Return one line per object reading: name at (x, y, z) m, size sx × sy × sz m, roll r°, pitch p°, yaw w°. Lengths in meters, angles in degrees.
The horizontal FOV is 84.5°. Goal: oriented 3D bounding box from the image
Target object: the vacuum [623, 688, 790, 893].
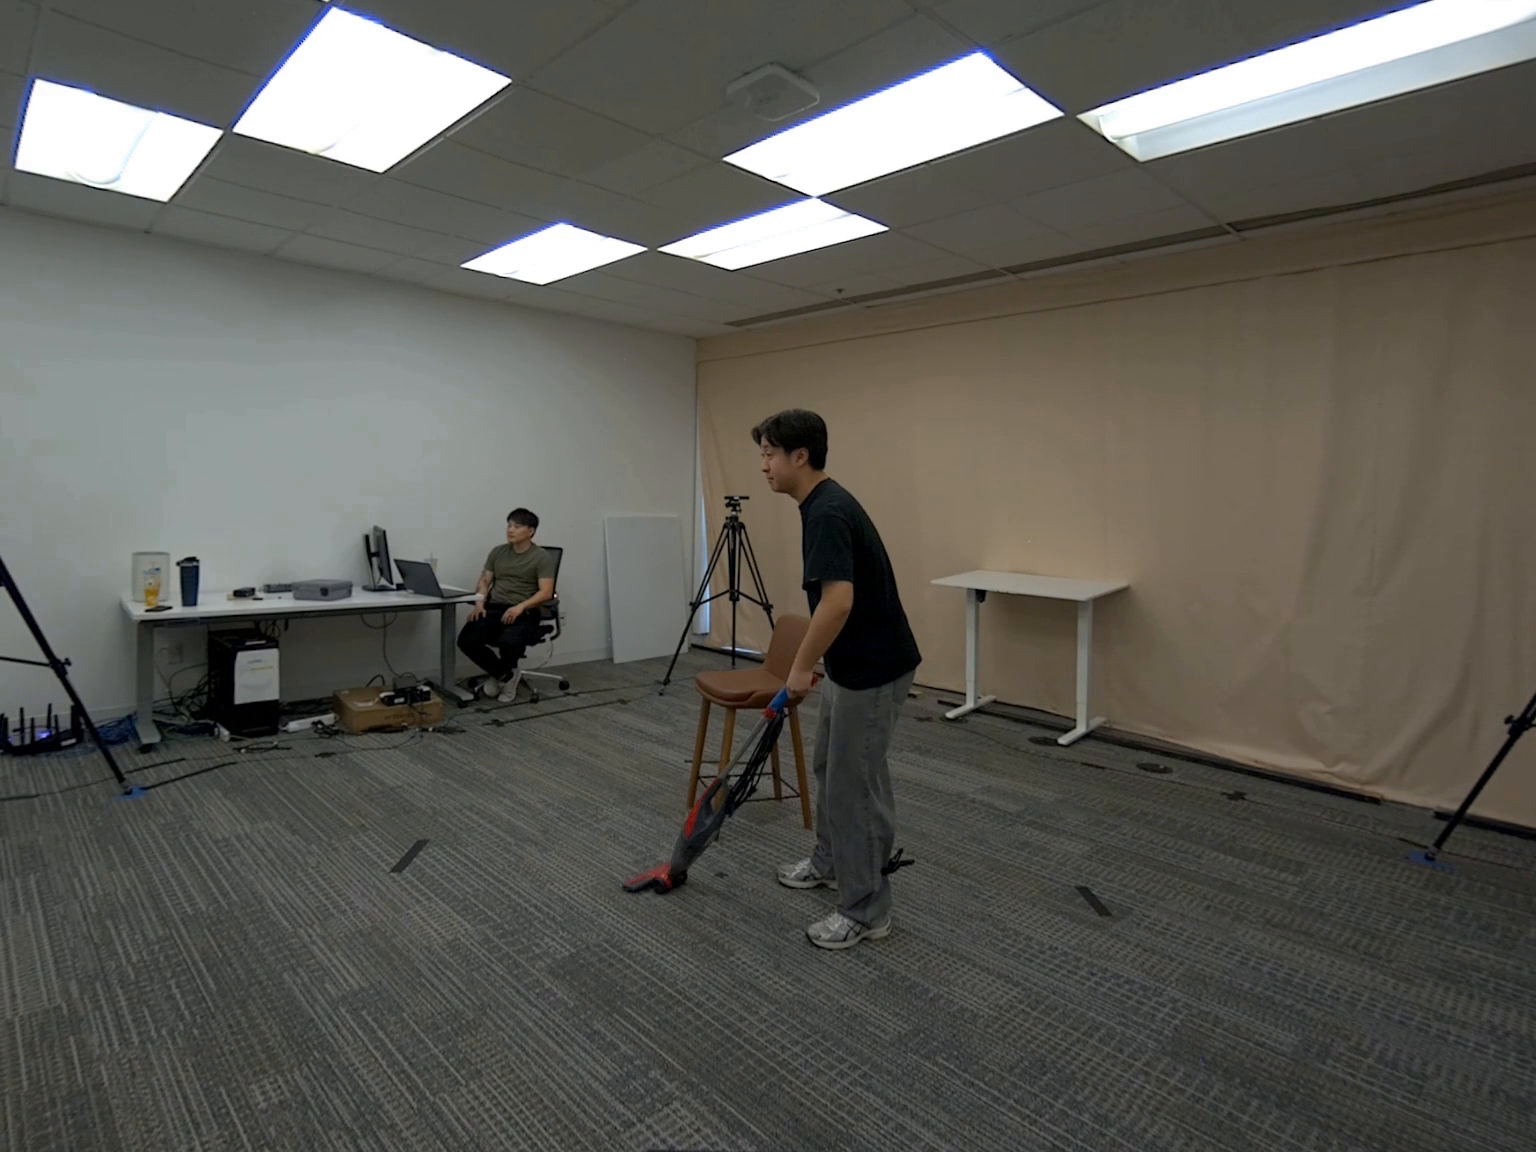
vacuum at (-0.134, 0.705, 2.792) m, size 0.147 × 1.045 × 0.248 m, roll 45°, pitch 27°, yaw 22°
